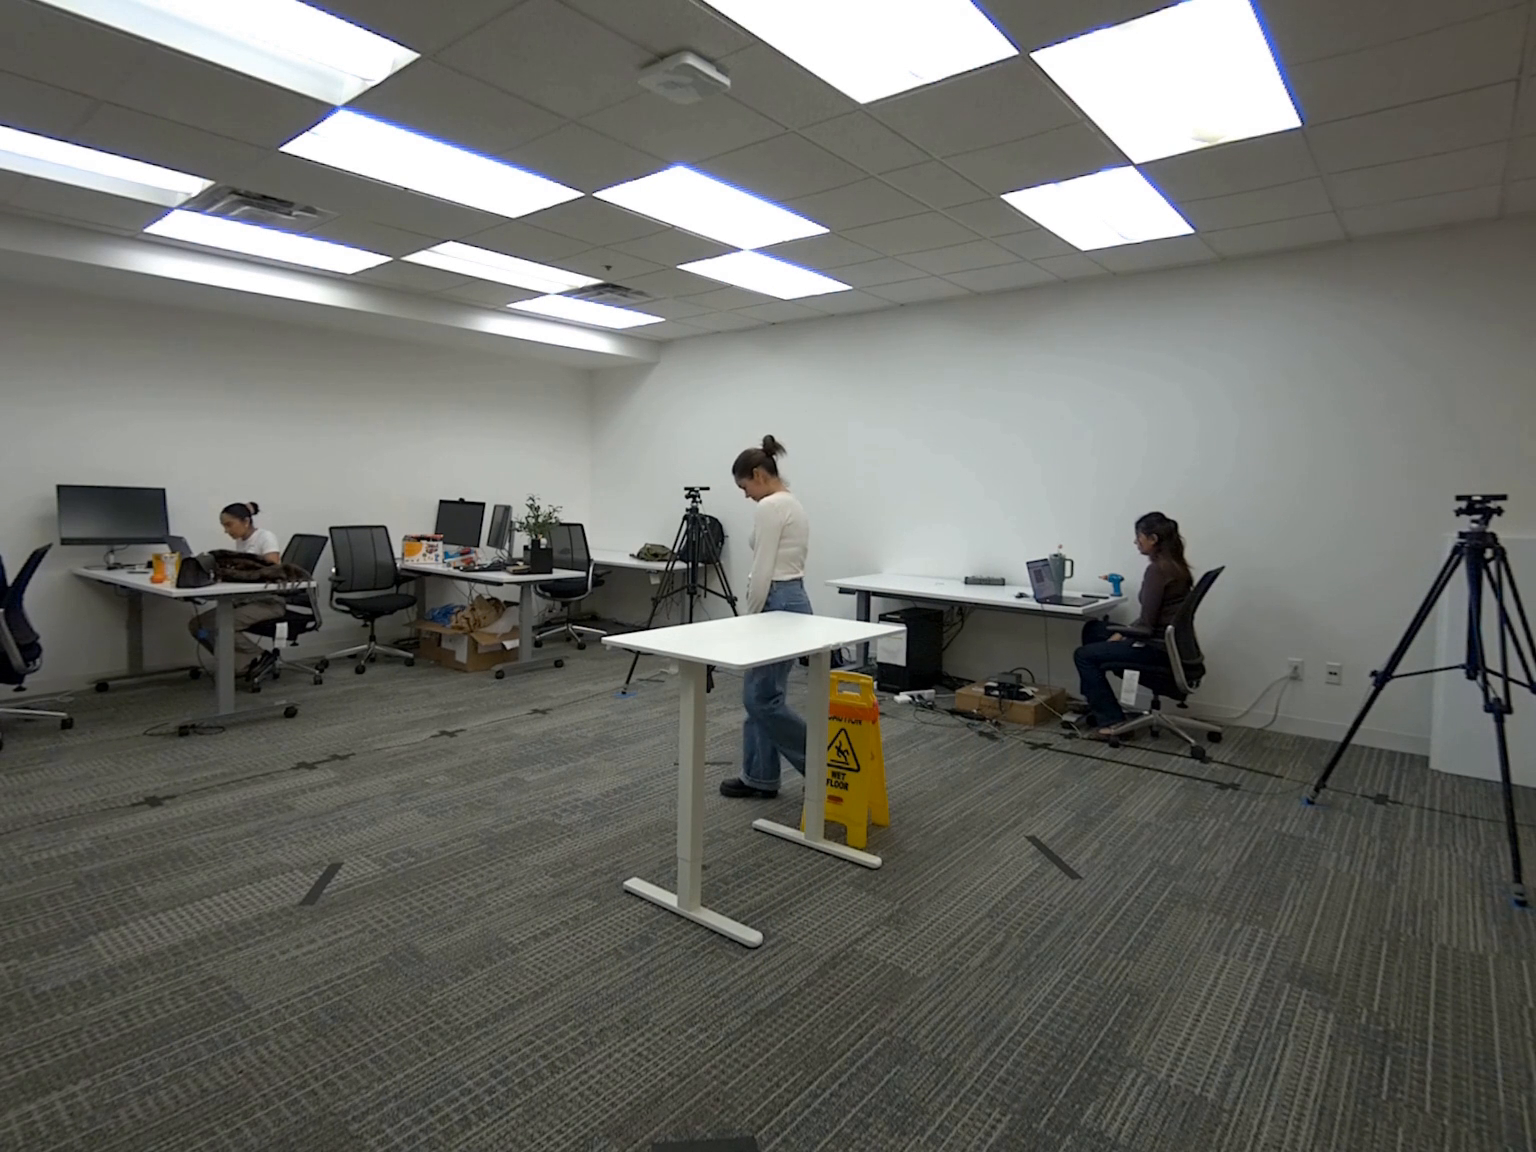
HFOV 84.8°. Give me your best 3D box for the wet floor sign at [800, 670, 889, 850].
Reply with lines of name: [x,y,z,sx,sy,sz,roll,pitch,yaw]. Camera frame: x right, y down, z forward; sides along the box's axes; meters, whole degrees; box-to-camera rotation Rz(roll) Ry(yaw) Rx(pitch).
wet floor sign: [0.322,0.715,3.477,0.291,0.644,0.282,4,4,30]
